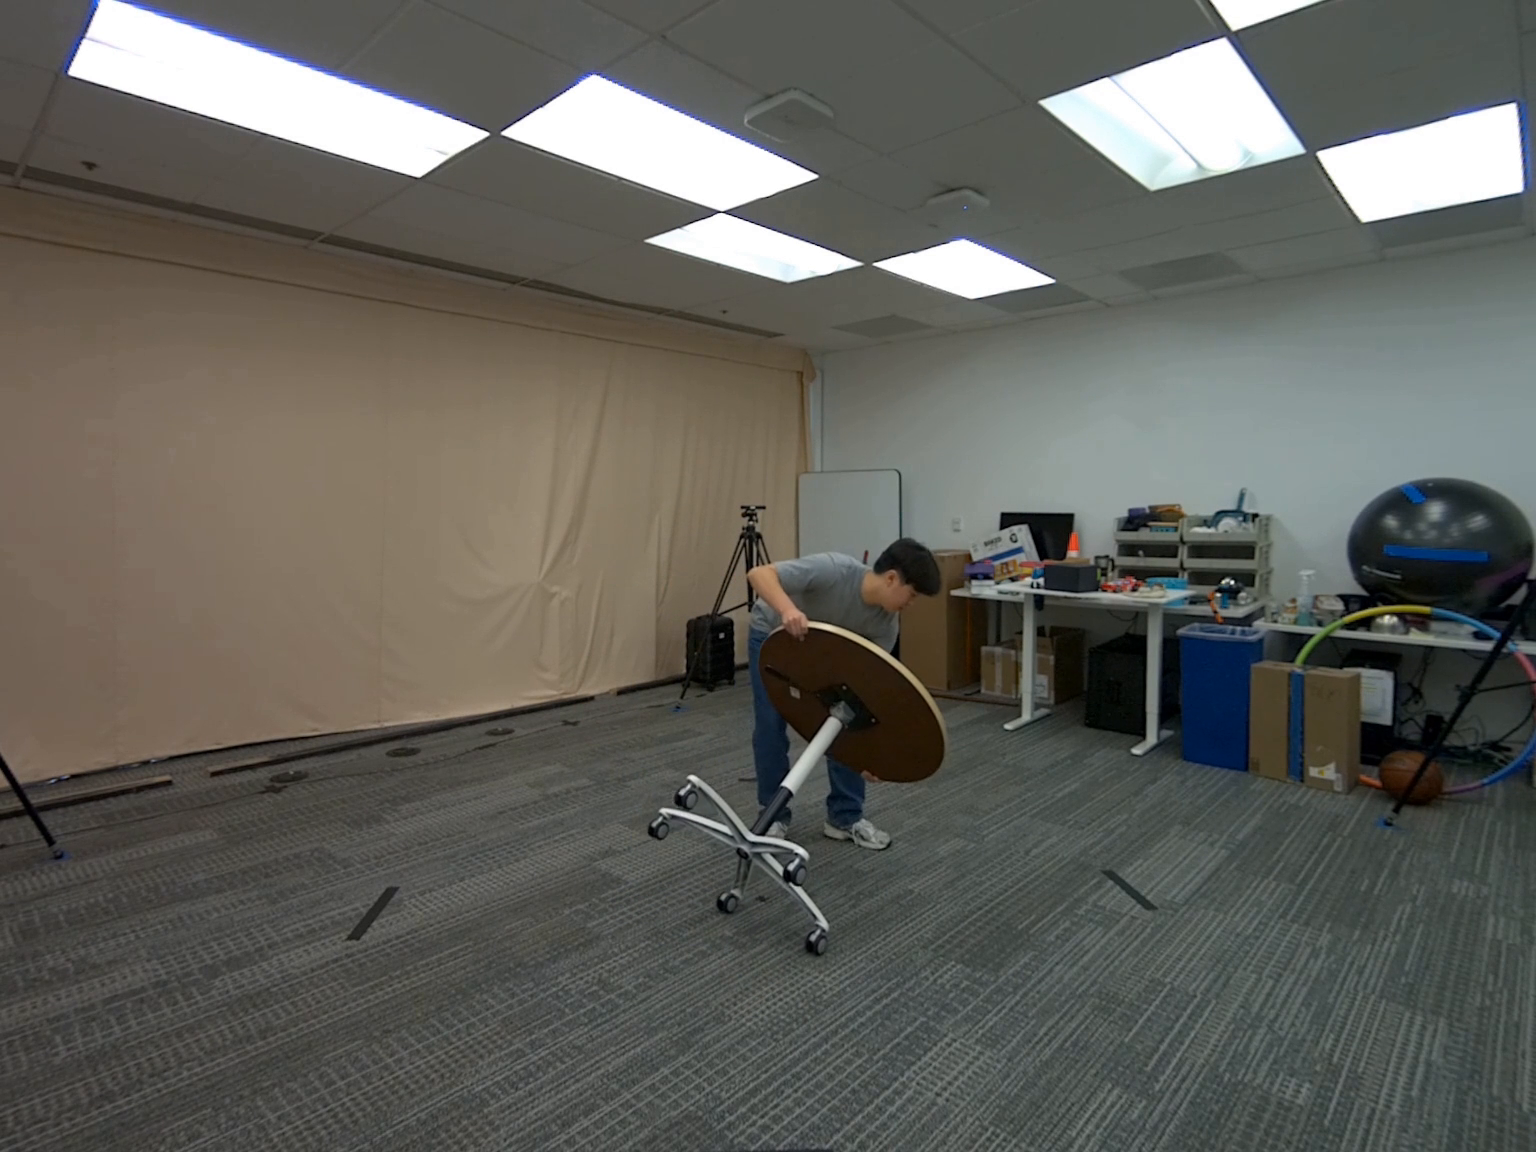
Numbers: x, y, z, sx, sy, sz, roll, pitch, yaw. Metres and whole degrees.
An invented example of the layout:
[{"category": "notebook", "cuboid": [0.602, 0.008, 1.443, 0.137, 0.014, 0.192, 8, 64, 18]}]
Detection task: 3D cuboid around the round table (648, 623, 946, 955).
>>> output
[{"category": "round table", "cuboid": [0.094, 0.701, 2.866, 0.789, 0.745, 0.787, 4, 39, 42]}]
